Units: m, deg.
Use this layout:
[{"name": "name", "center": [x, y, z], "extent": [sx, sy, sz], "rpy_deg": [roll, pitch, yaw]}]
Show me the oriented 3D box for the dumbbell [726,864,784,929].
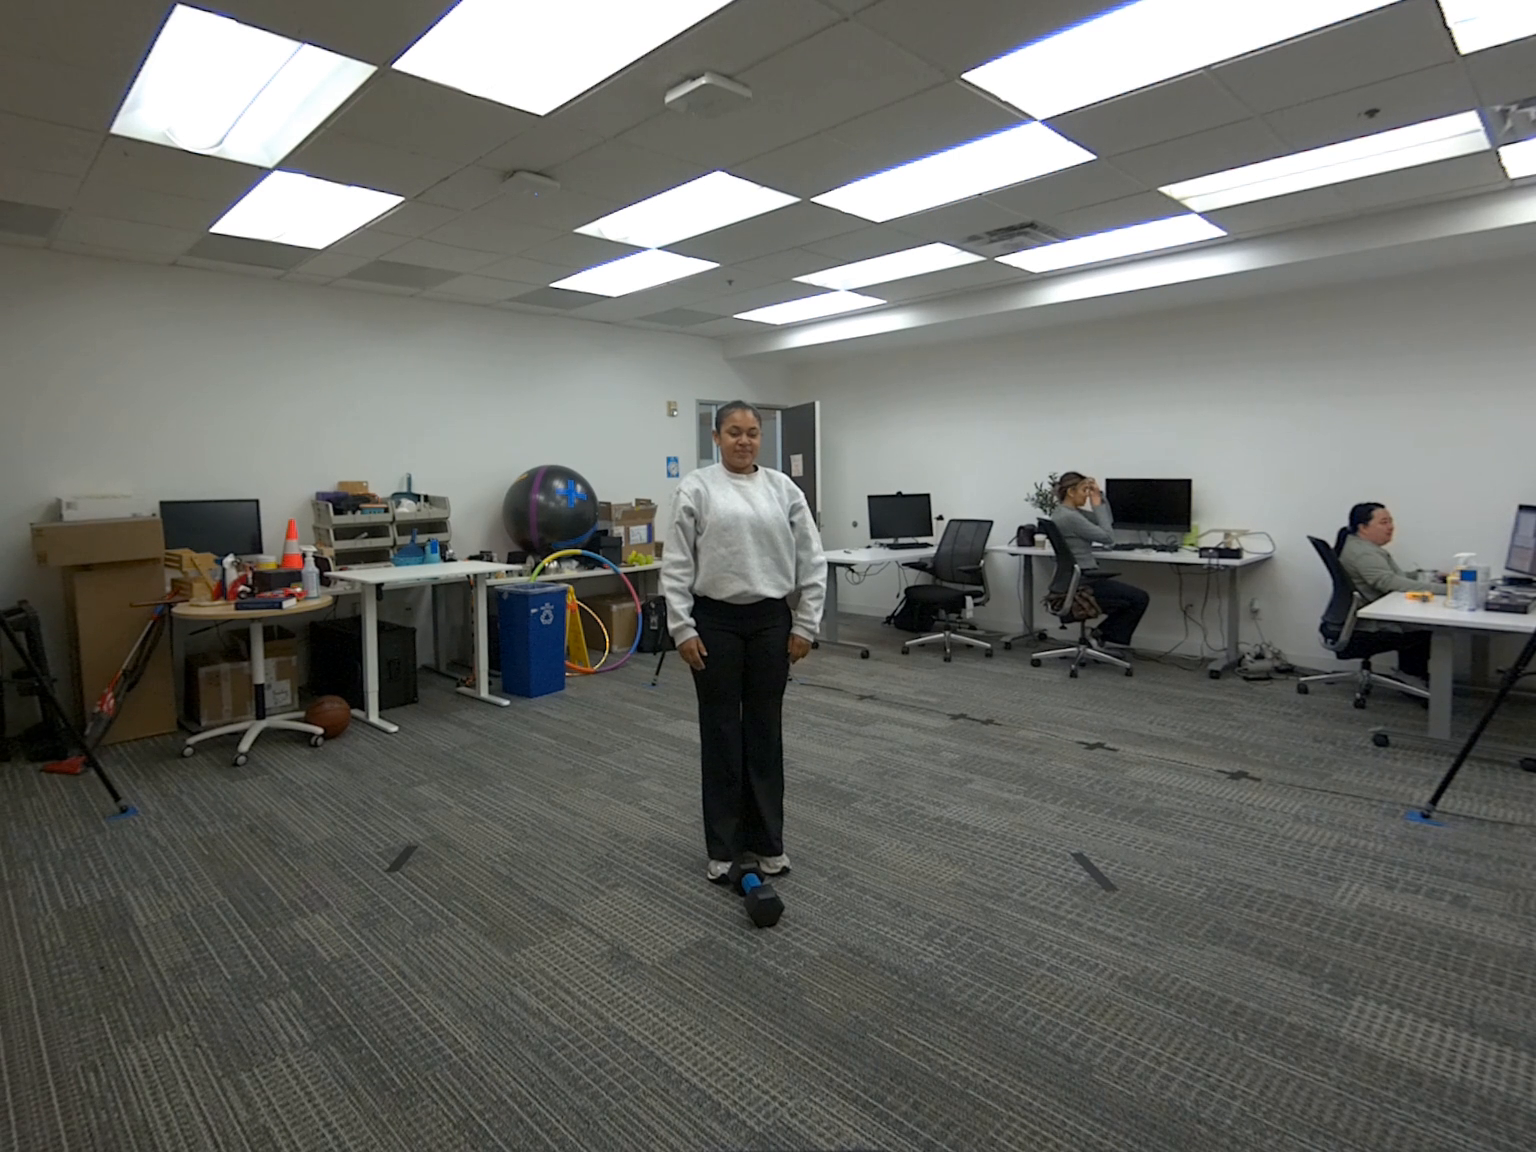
[{"name": "dumbbell", "center": [-0.045, 1.036, 2.792], "extent": [0.107, 0.123, 0.299], "rpy_deg": [26, -2, -17]}]
